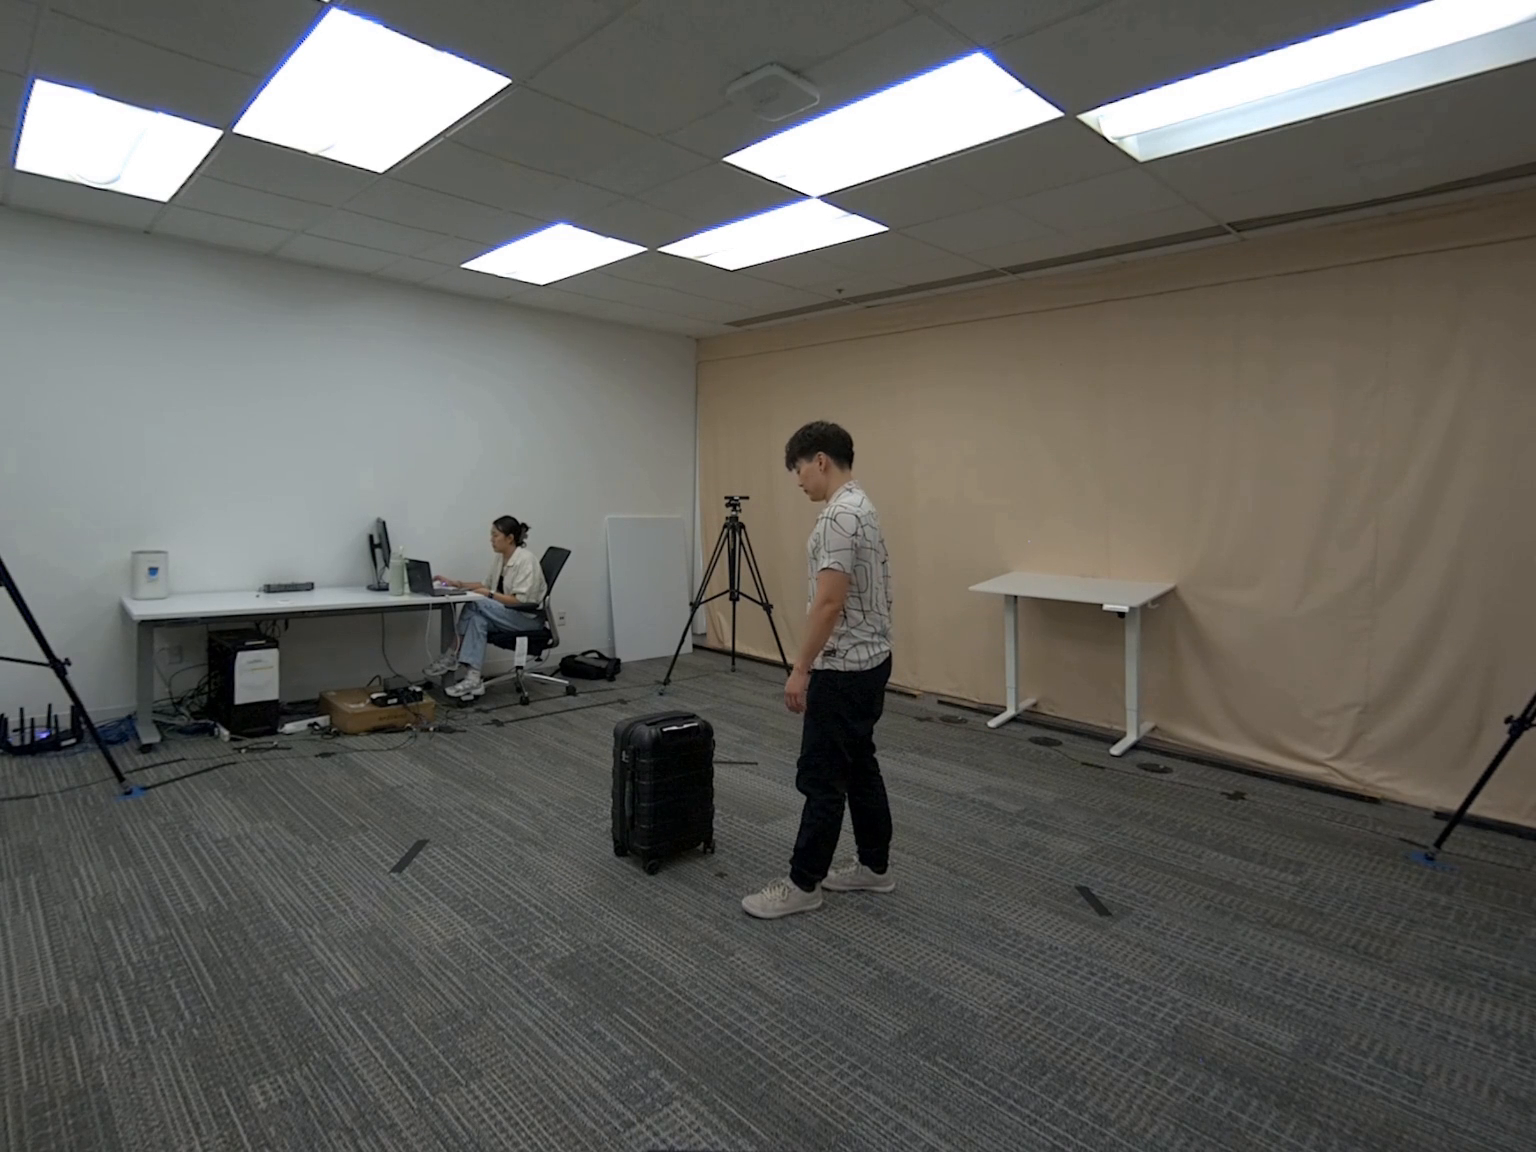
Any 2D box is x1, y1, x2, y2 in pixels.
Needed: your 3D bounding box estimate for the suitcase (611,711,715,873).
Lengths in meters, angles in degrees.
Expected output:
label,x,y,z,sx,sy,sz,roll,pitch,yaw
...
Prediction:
label,x,y,z,sx,sy,sz,roll,pitch,yaw
suitcase,-0.417,0.807,3.258,0.367,0.548,0.254,-2,5,-39
